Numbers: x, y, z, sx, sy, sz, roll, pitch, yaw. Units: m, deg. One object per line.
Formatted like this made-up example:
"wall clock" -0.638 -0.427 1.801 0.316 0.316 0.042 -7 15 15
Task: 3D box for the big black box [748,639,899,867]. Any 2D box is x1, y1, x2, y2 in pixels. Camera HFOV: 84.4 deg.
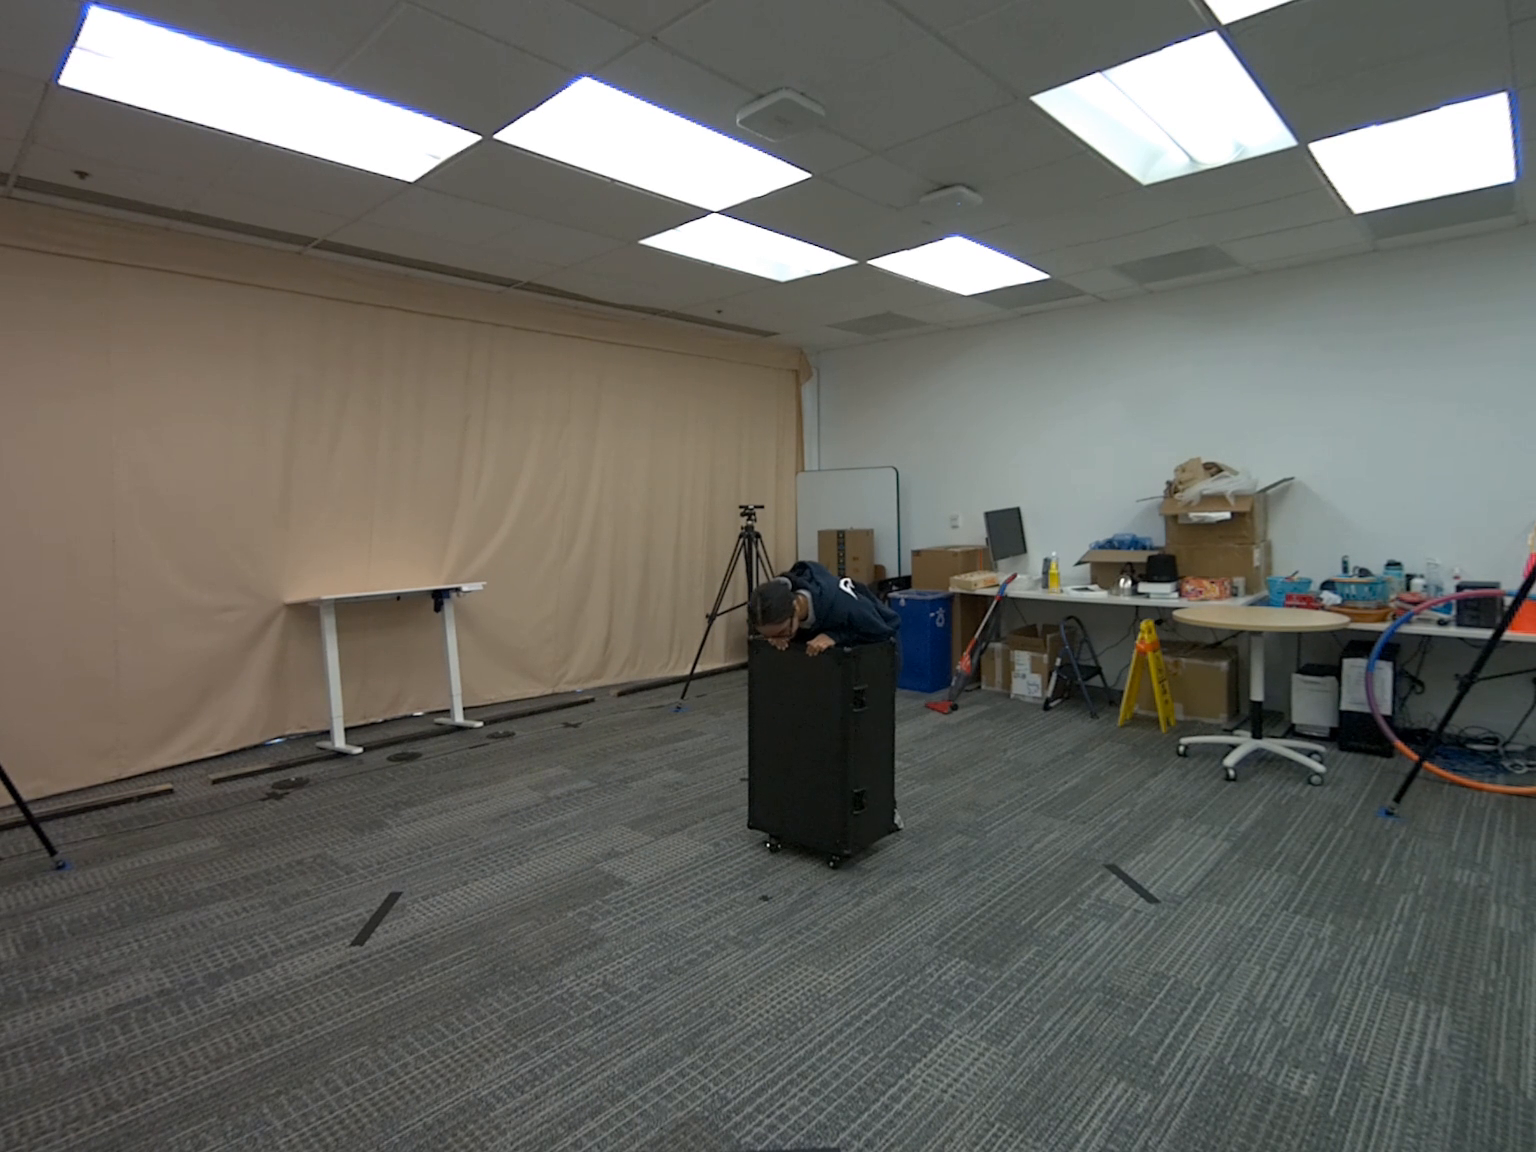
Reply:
"big black box" 0.217 0.682 3.407 0.538 0.860 0.384 2 2 40
